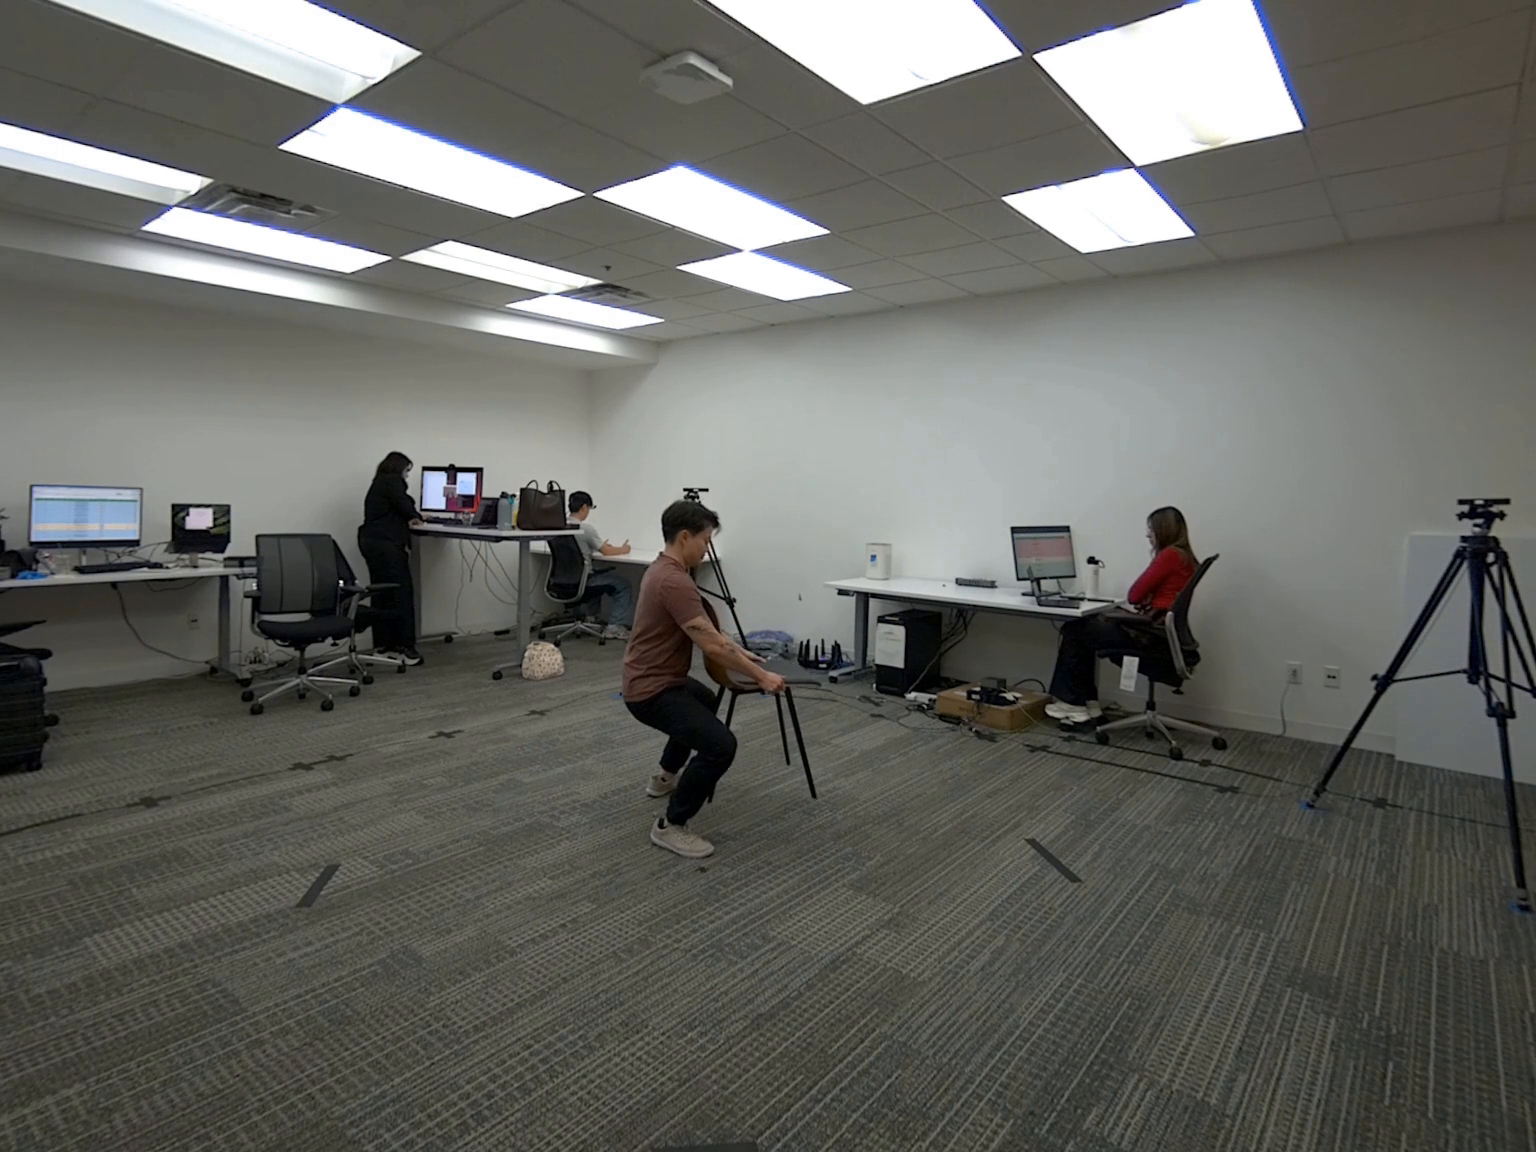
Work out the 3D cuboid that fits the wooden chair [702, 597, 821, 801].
[{"bbox_3d":[-0.057,0.467,3.660,0.517,0.876,0.484,-3,2,-12],"label":"wooden chair"}]
